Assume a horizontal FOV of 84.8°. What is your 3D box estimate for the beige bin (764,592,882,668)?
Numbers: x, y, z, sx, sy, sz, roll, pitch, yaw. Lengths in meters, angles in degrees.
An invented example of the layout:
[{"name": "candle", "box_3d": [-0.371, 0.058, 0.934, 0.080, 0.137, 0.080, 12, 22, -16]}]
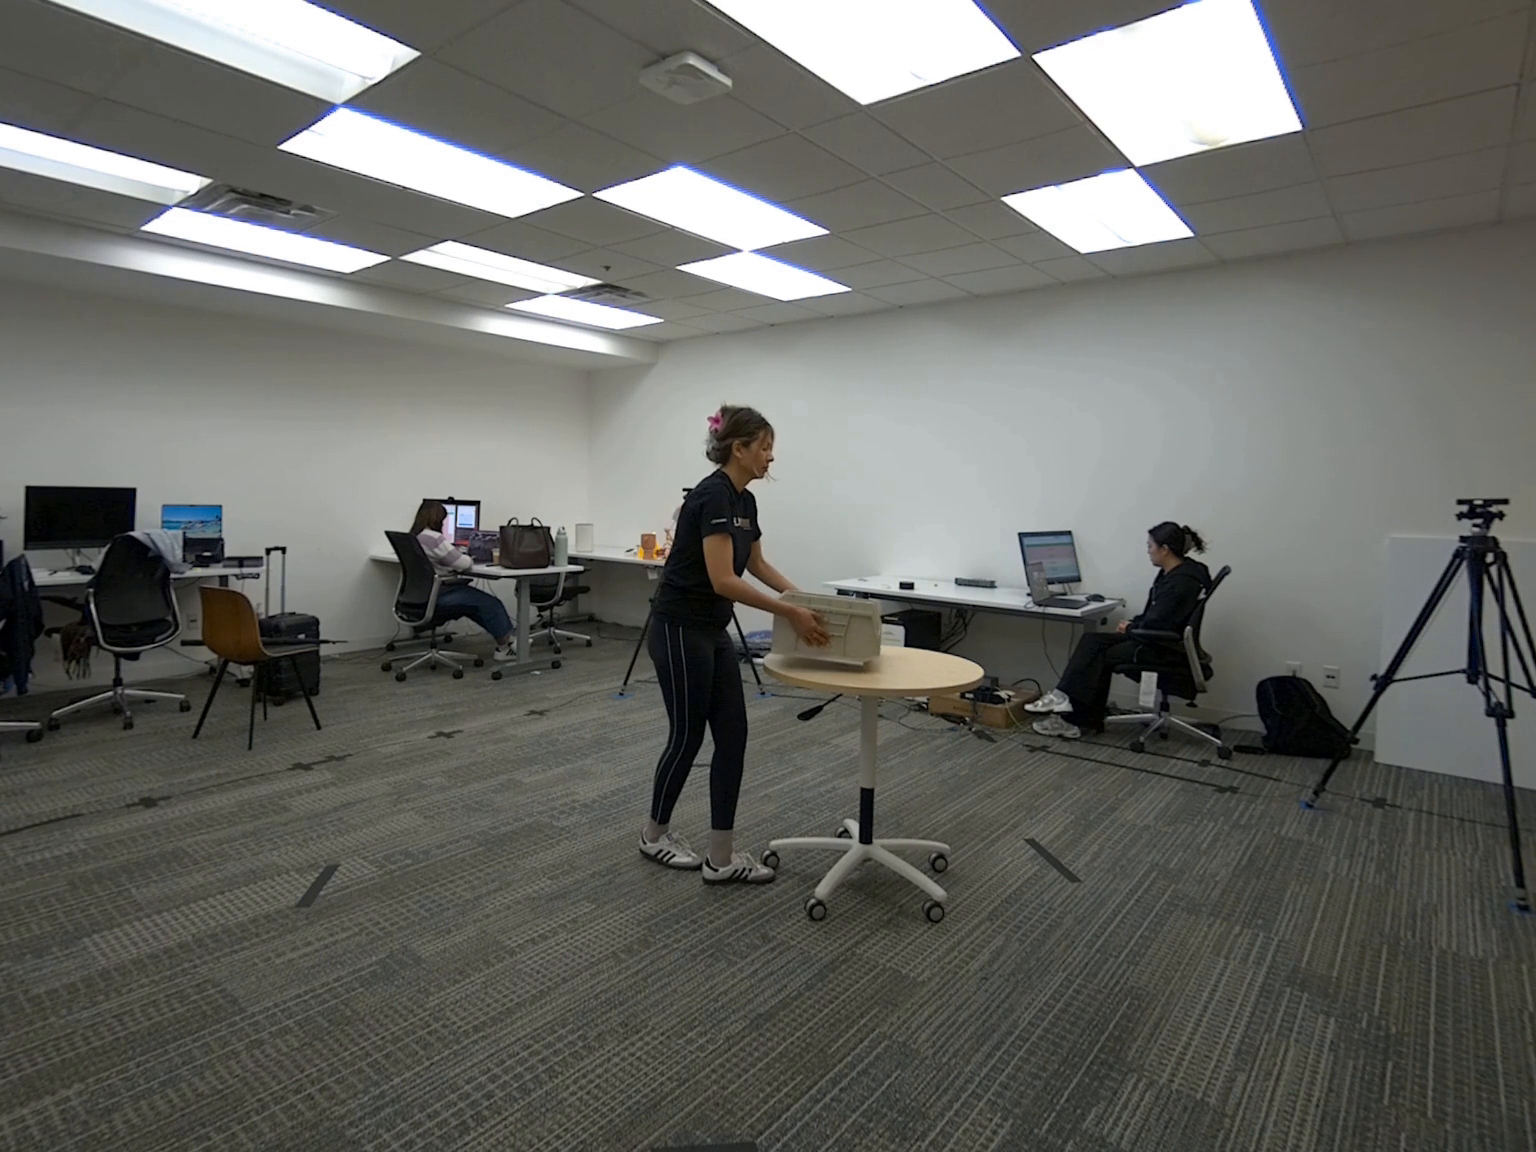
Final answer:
[{"name": "beige bin", "box_3d": [0.228, 0.179, 3.068, 0.383, 0.188, 0.417, 5, 5, 12]}]
